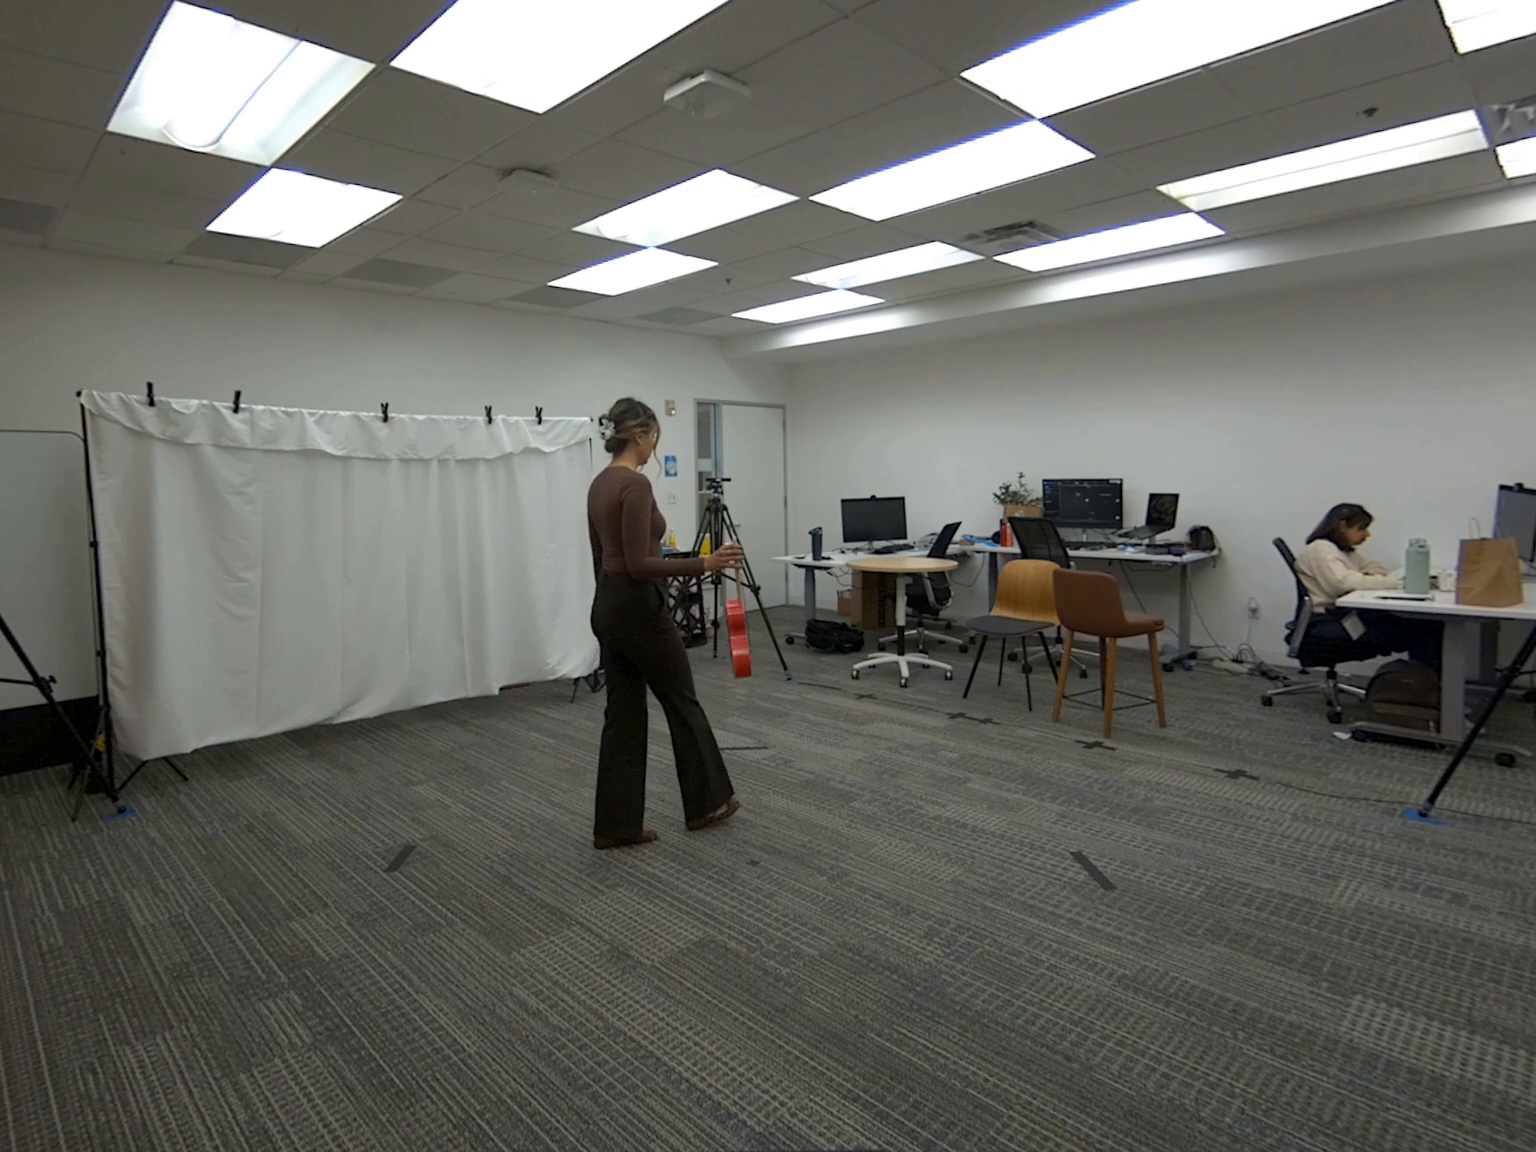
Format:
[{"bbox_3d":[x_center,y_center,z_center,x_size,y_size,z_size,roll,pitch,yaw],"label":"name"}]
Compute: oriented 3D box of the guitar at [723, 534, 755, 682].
[{"bbox_3d":[-0.106,0.116,3.064,0.070,0.505,0.190,-4,-14,-2],"label":"guitar"}]
